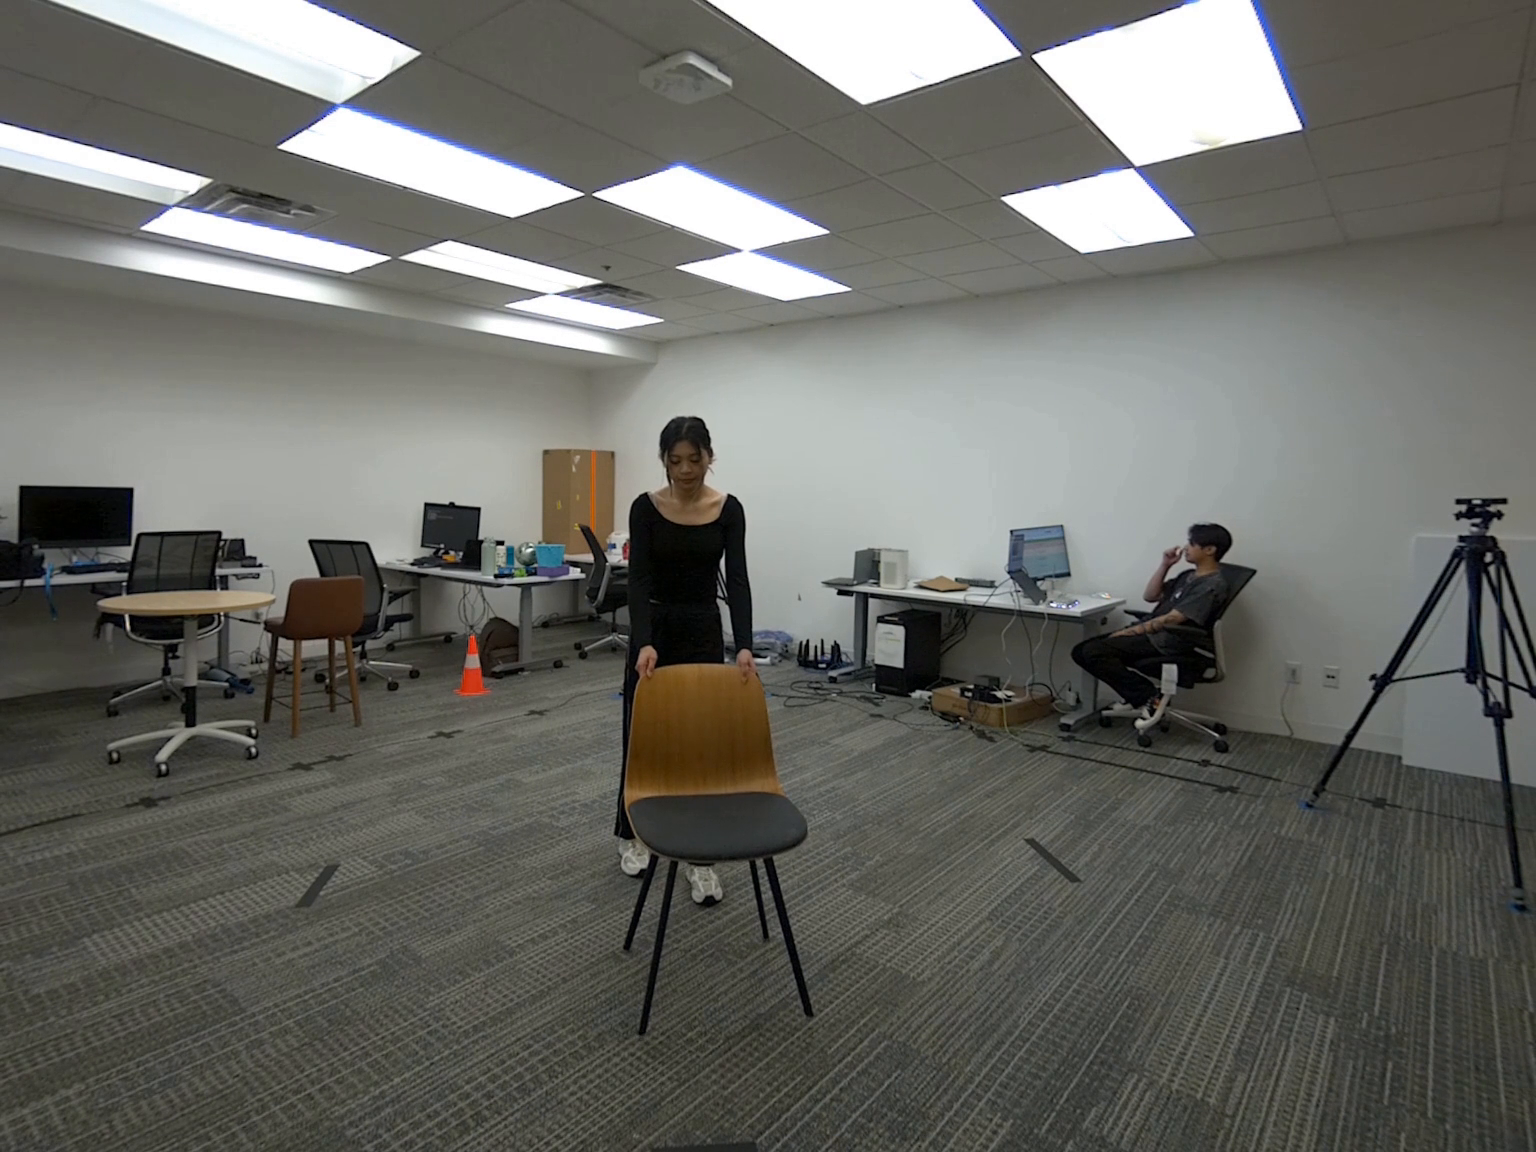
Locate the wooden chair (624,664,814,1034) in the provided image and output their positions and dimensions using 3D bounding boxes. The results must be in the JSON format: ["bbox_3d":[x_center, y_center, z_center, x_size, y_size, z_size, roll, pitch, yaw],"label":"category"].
[{"bbox_3d":[-0.151,0.706,2.366,0.472,0.881,0.528,1,-4,-13],"label":"wooden chair"}]
